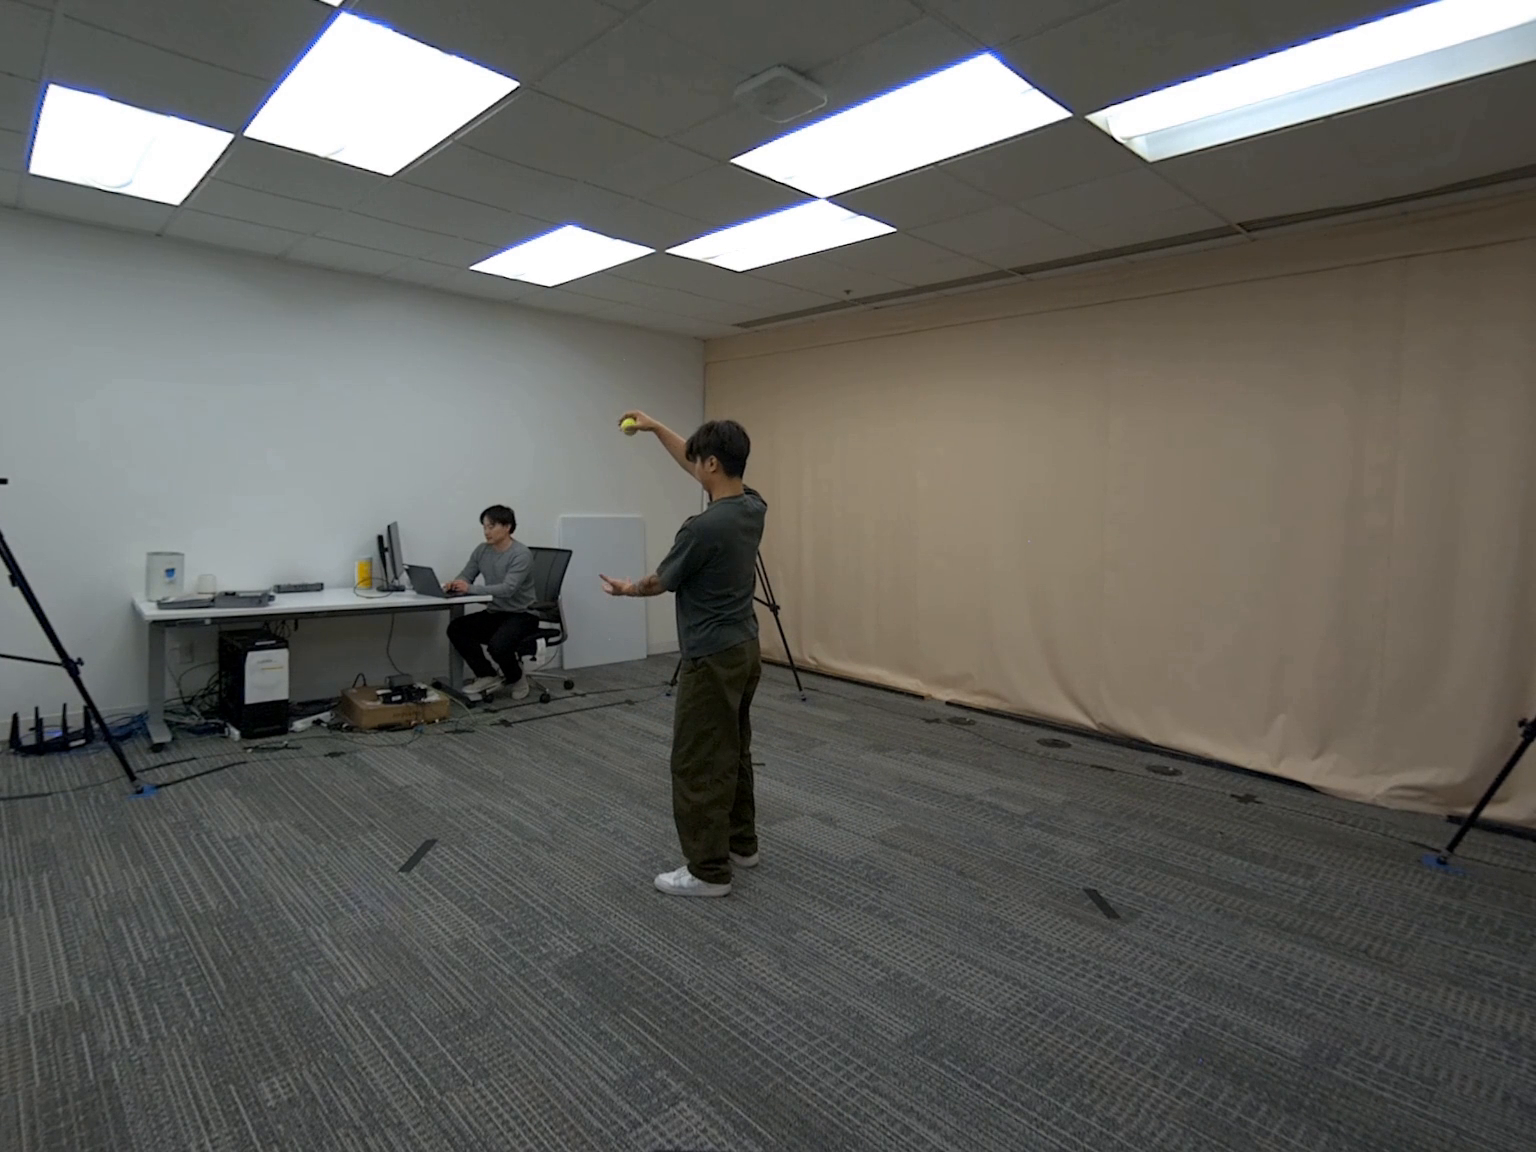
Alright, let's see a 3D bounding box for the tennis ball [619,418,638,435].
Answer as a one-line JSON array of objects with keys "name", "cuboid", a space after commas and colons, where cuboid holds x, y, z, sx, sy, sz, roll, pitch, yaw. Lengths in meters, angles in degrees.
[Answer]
[{"name": "tennis ball", "cuboid": [-0.519, -0.558, 3.258, 0.066, 0.066, 0.067, 1, 4, -1]}]
